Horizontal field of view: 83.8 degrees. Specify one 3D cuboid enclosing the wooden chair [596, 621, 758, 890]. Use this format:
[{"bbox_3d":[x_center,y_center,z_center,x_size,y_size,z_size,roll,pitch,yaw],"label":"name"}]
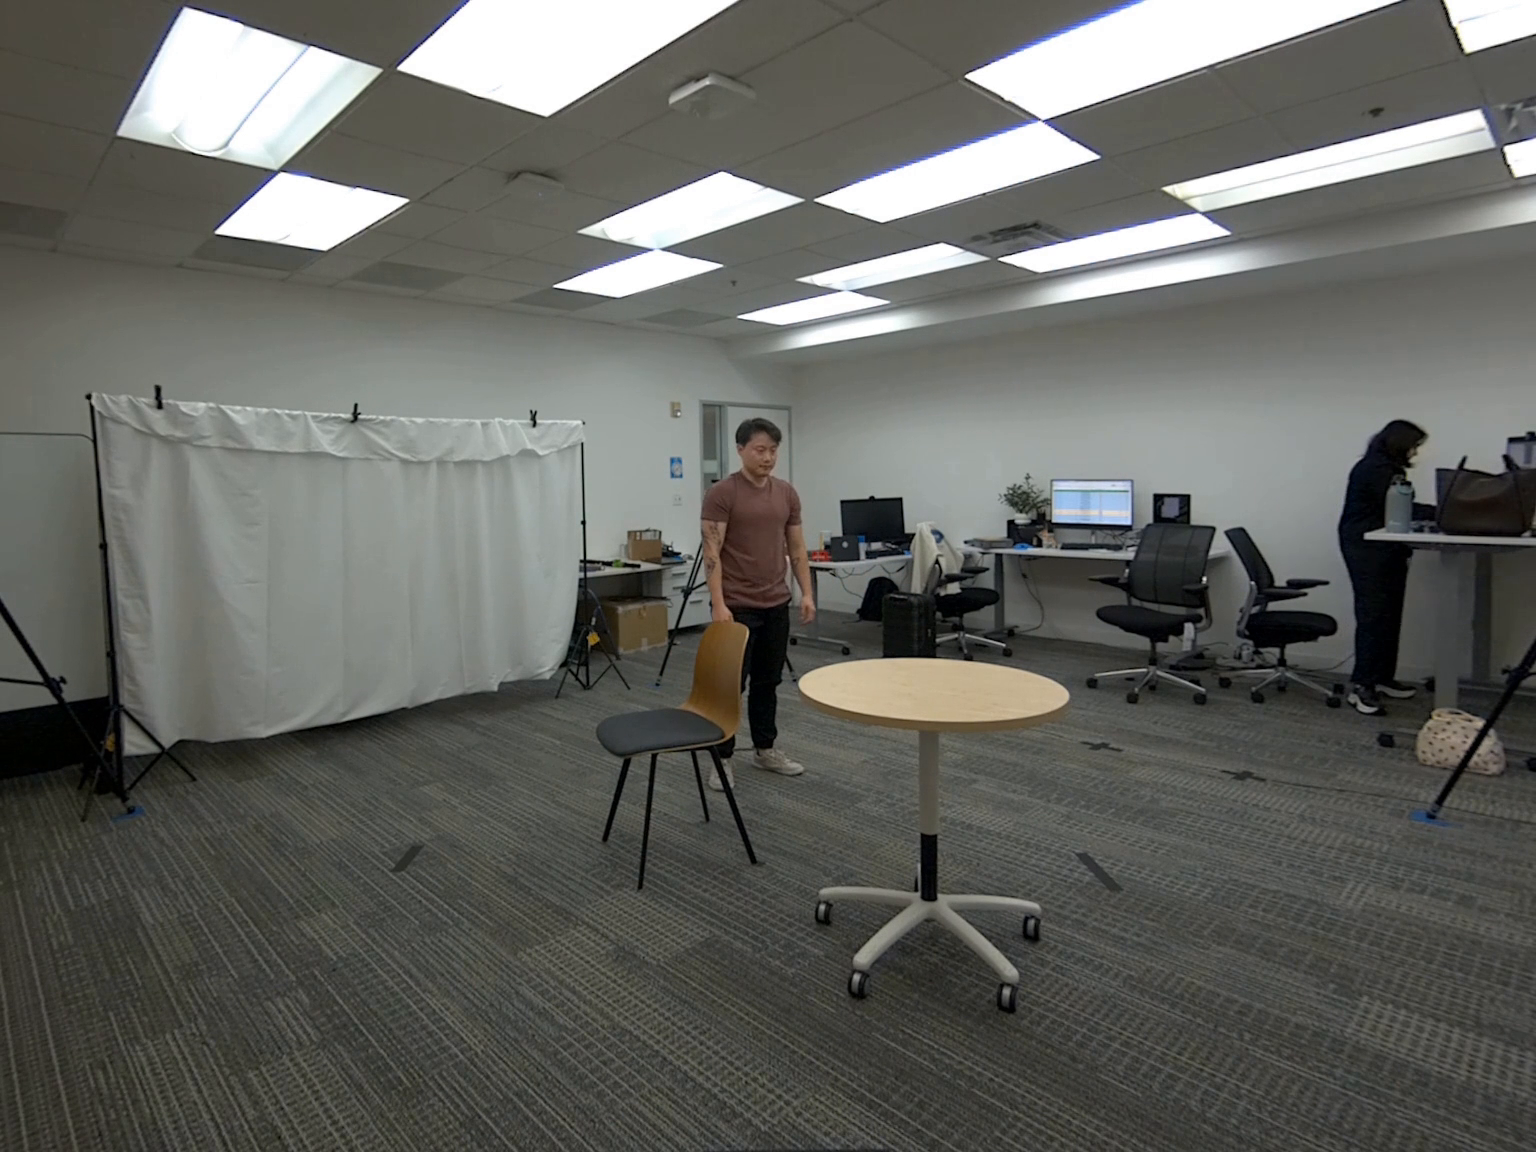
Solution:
[{"bbox_3d":[-0.355,0.619,3.181,0.511,0.875,0.490,2,3,-26],"label":"wooden chair"}]
